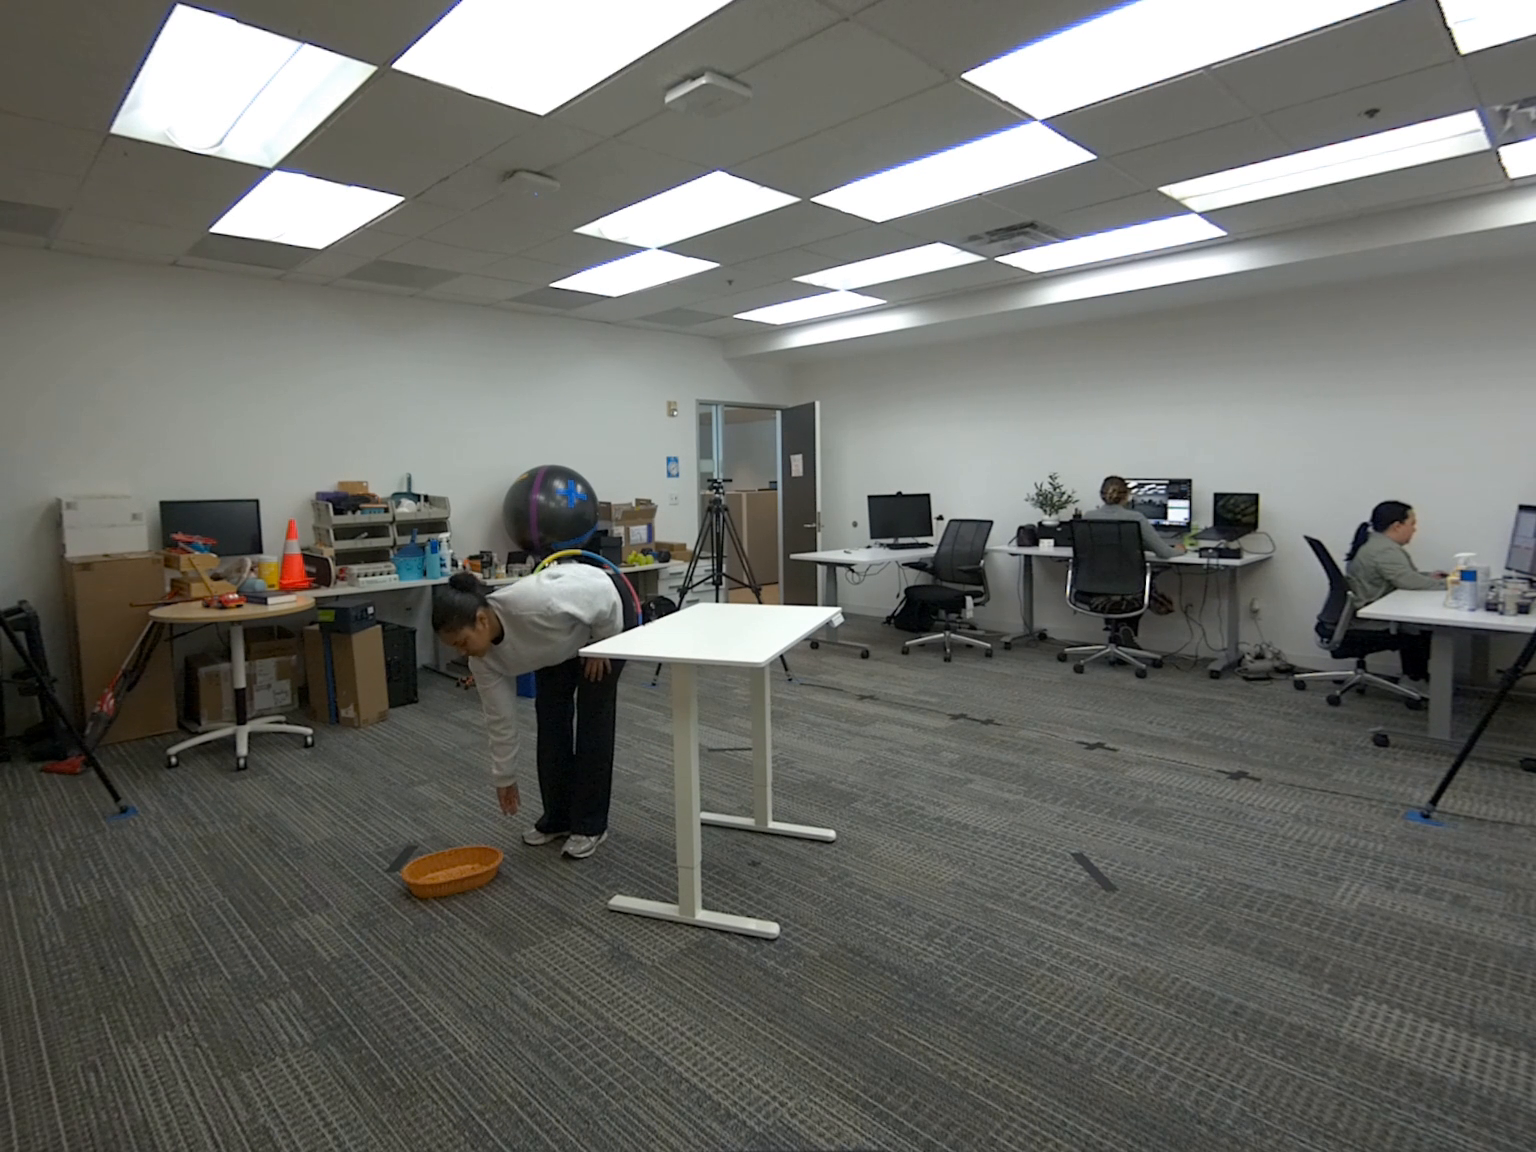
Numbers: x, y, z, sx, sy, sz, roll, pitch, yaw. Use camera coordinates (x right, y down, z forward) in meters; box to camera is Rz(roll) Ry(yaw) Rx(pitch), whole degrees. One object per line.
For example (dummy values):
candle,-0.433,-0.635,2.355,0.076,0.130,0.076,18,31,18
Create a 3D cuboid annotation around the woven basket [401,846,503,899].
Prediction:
woven basket,-1.100,1.038,3.012,0.343,0.073,0.259,-5,7,-27
